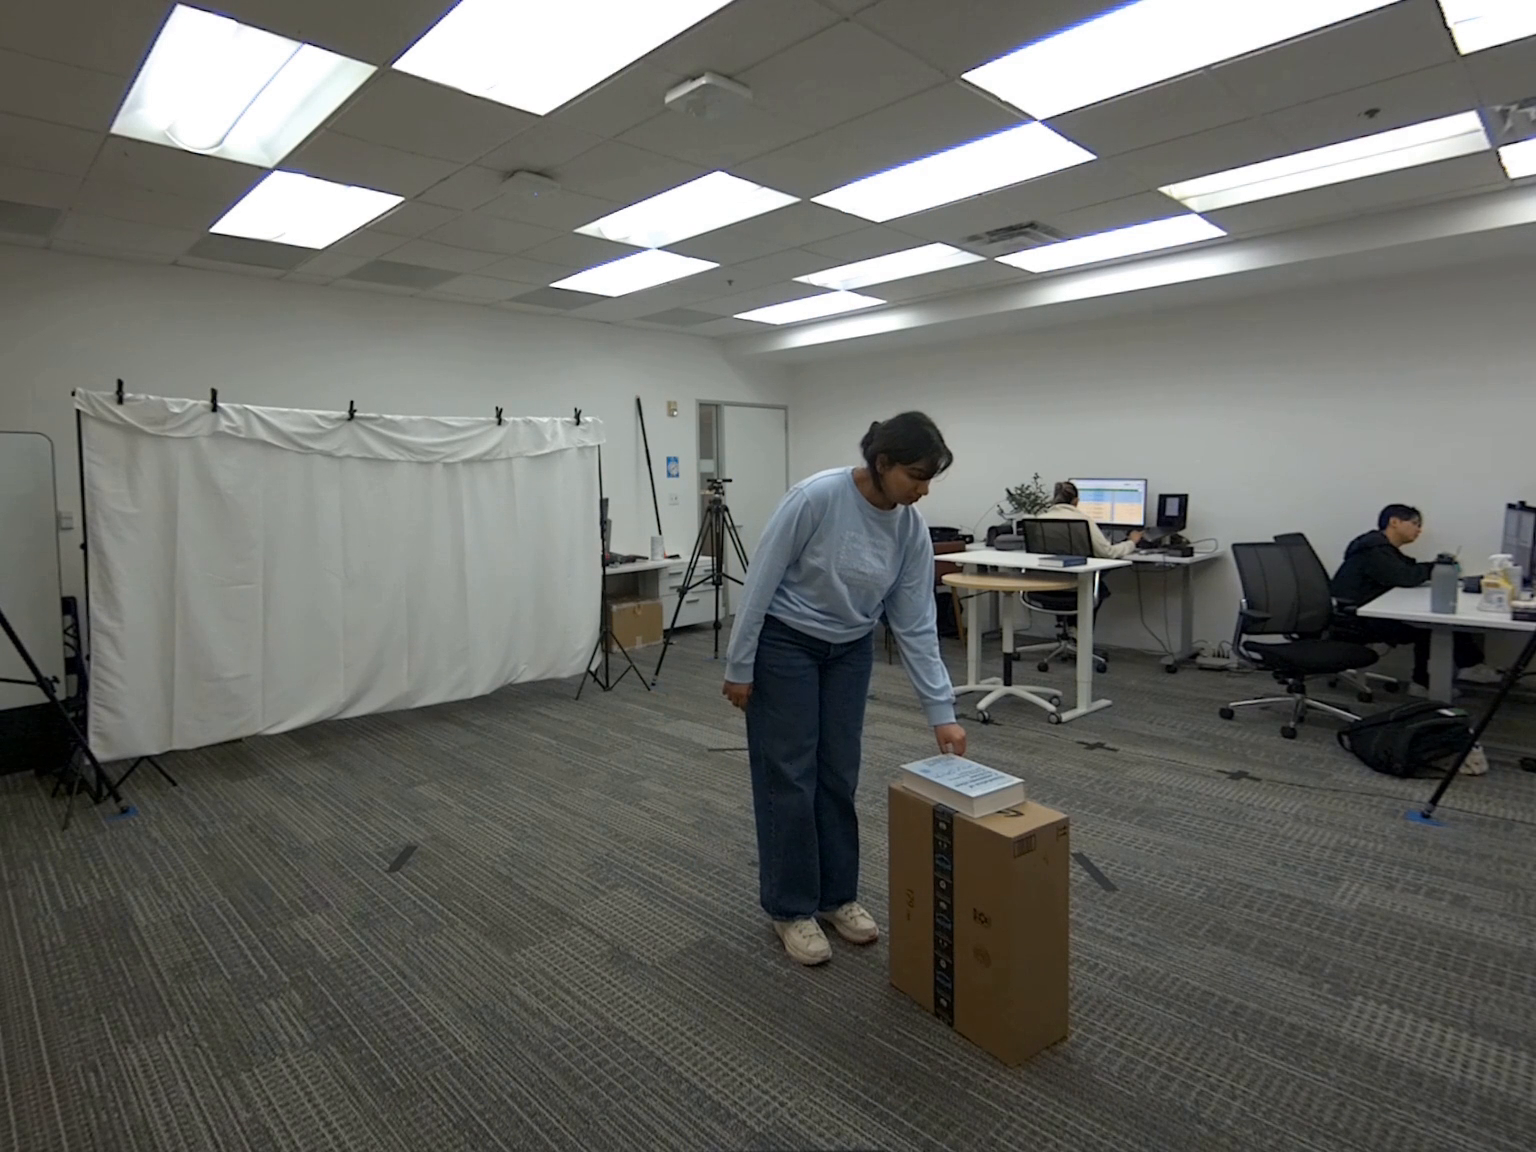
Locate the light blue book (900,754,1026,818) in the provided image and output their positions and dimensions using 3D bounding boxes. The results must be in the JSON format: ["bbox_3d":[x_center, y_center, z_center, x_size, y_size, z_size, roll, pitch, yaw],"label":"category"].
[{"bbox_3d":[0.499,0.543,2.235,0.187,0.059,0.268,-6,8,-32],"label":"light blue book"}]
